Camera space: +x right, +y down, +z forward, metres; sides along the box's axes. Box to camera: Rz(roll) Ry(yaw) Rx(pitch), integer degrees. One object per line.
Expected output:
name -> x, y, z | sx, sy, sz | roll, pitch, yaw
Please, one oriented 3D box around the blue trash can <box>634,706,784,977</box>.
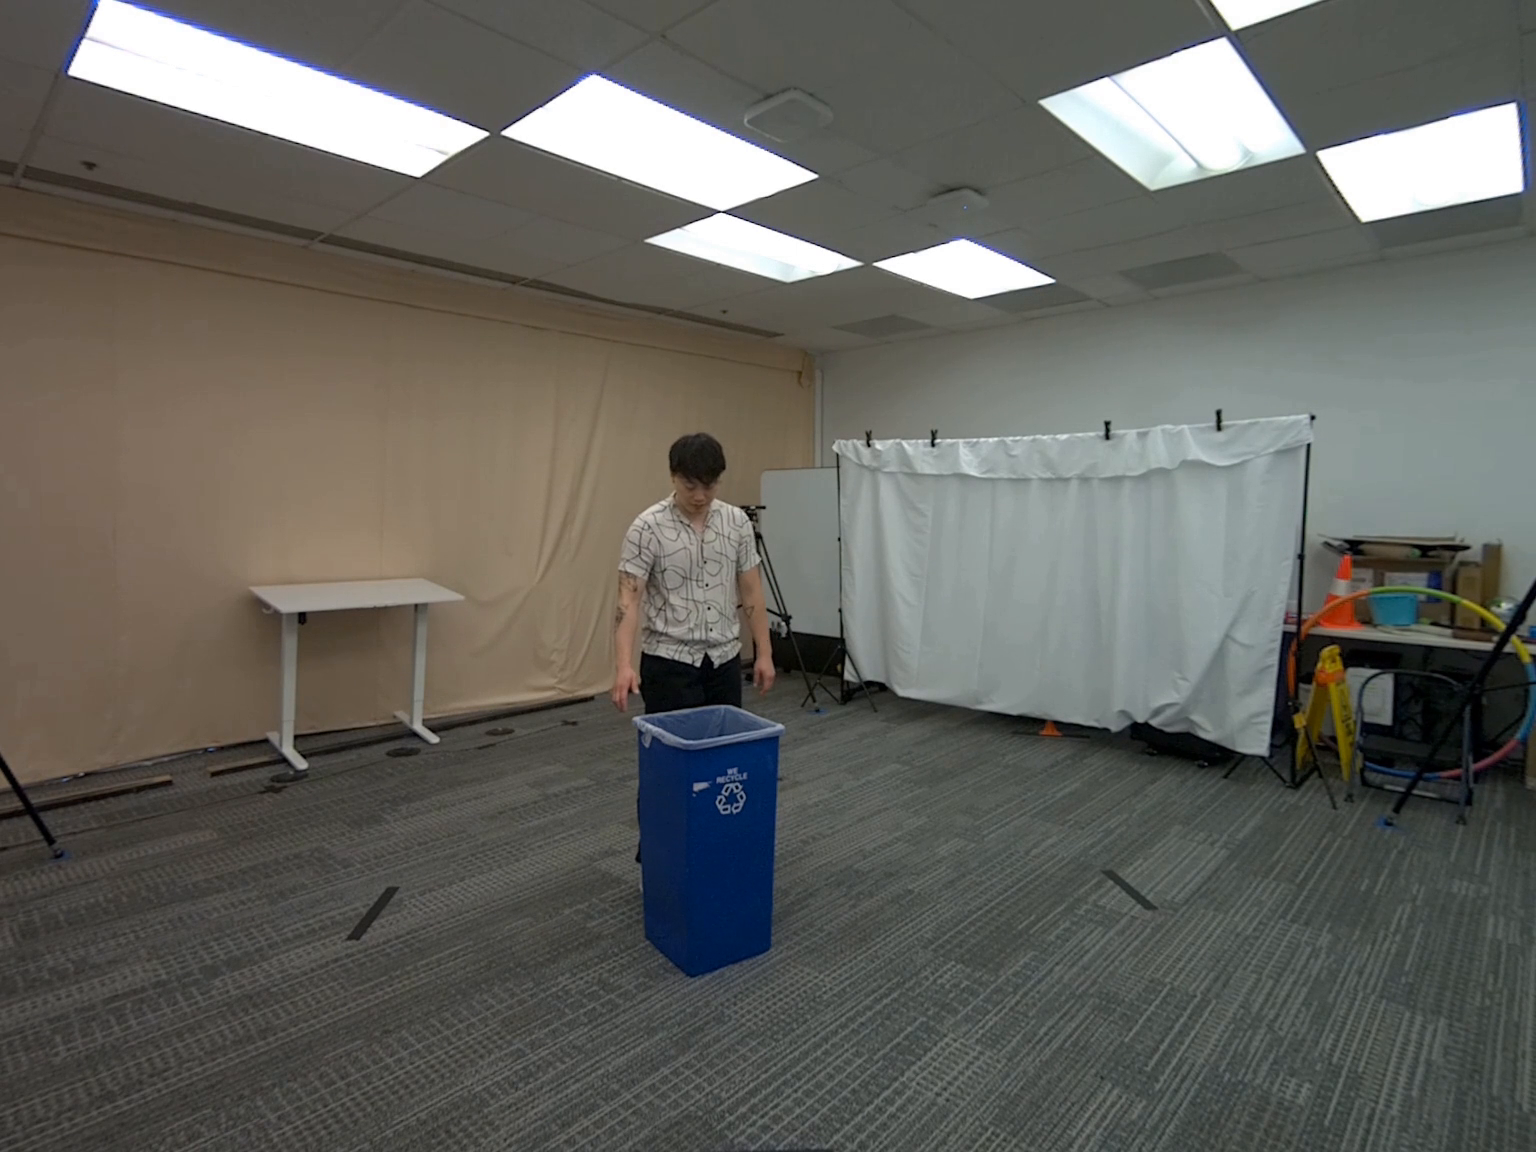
blue trash can -> -0.187, 0.813, 2.670 | 0.363, 0.712, 0.390 | -2, 5, -34
